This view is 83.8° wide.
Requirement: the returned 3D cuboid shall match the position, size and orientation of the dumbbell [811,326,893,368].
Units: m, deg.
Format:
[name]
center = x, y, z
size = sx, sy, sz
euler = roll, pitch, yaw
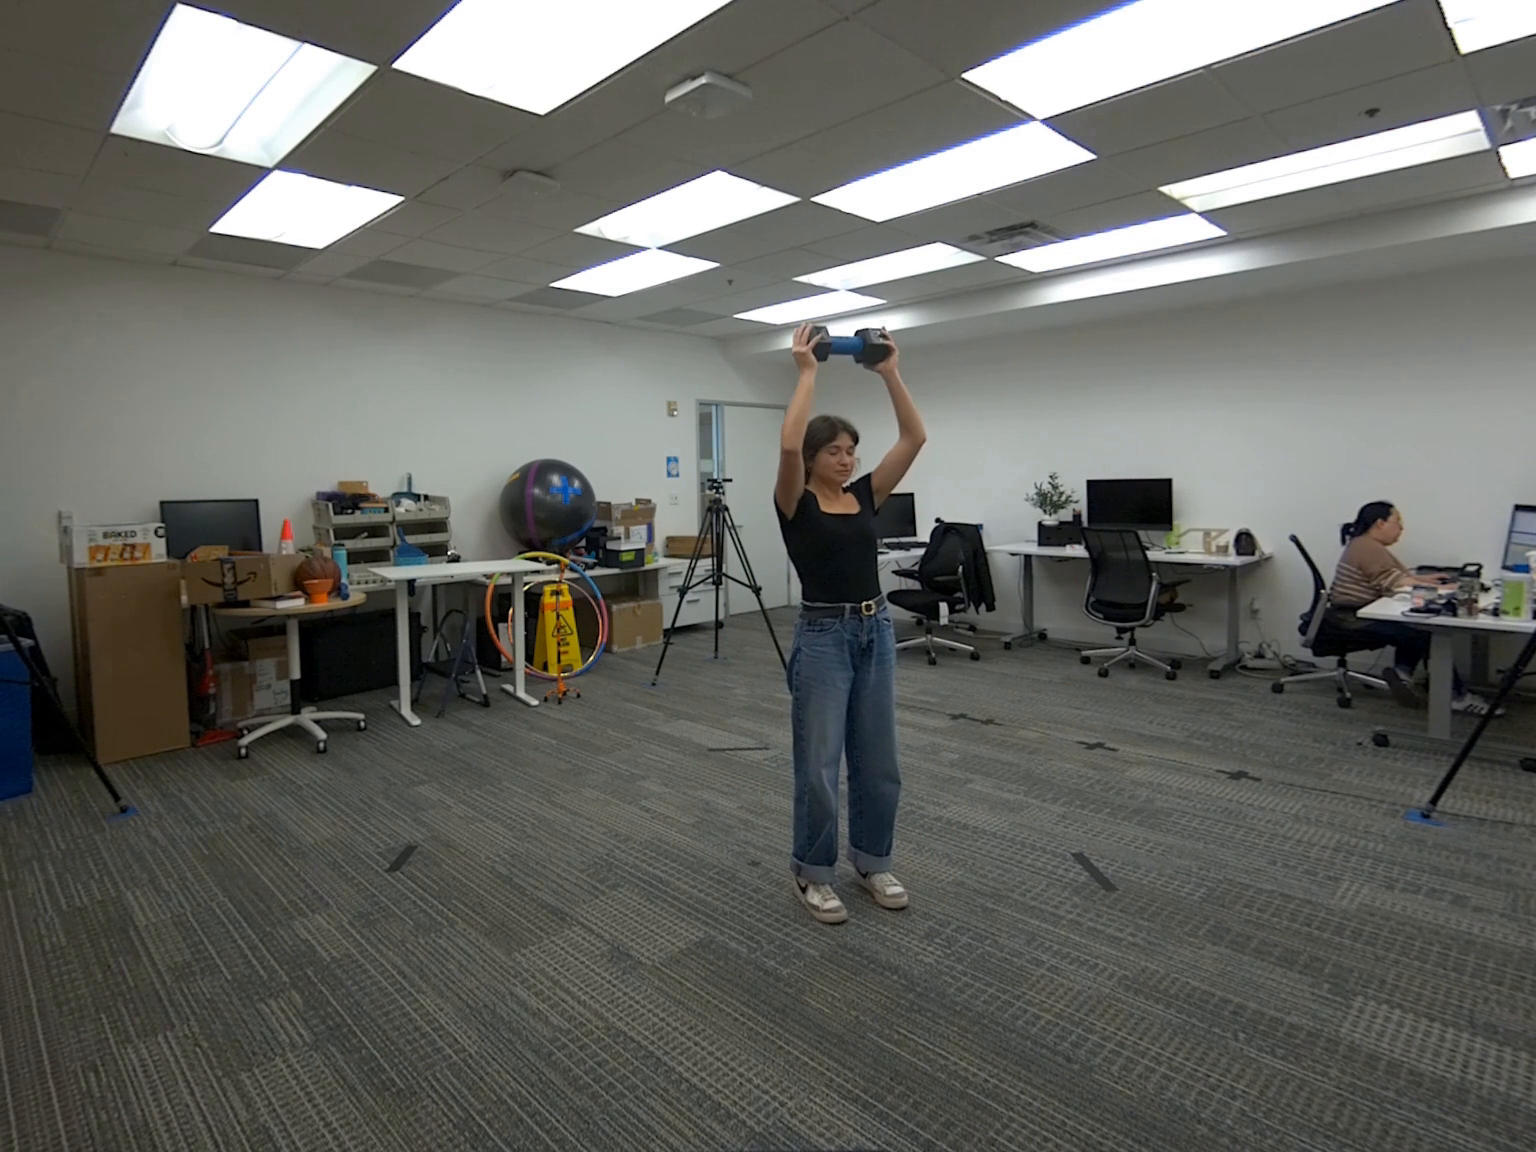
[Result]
[dumbbell]
center = 0.234, -0.717, 2.660
size = 0.287, 0.121, 0.113
euler = -7, 42, -29
